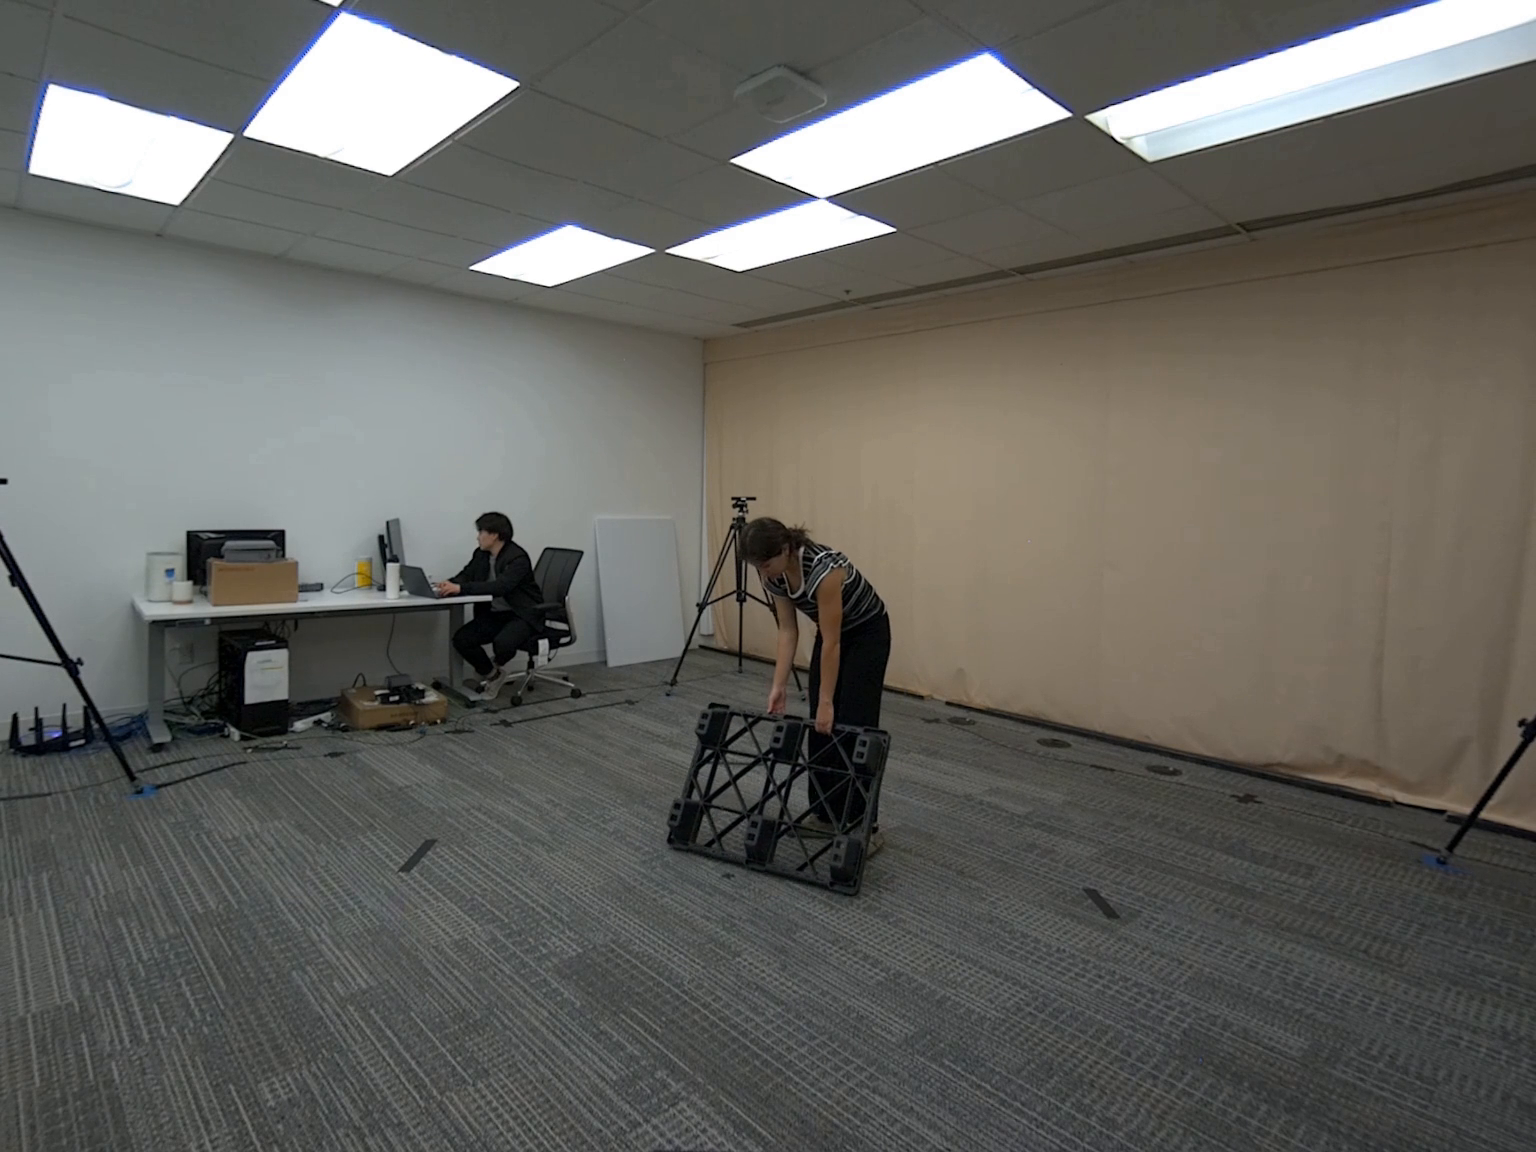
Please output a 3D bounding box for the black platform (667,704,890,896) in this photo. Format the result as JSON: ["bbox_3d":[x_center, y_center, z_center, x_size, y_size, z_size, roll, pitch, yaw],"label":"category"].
[{"bbox_3d":[0.014,0.807,3.227,0.823,0.611,0.139,3,-27,29],"label":"black platform"}]
